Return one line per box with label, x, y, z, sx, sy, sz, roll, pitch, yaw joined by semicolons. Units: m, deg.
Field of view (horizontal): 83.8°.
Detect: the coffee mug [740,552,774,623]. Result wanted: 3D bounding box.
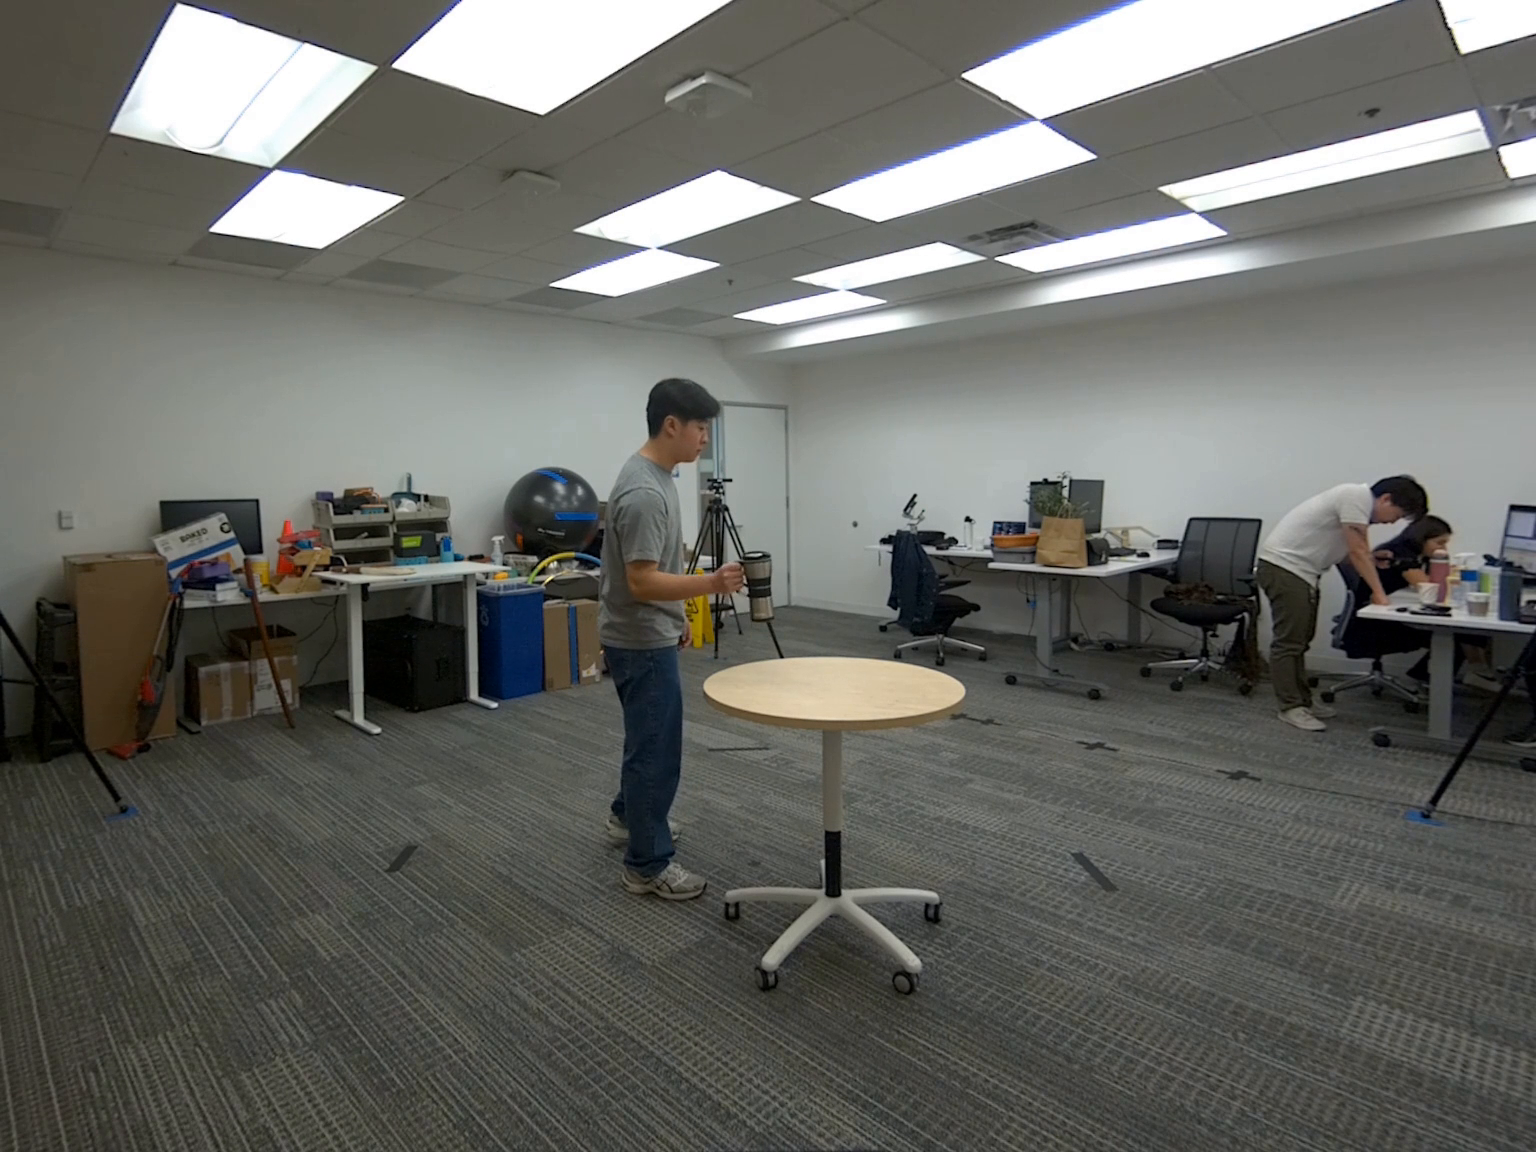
coffee mug;-0.049;0.038;2.566;0.086;0.201;0.126;-15;16;-42
